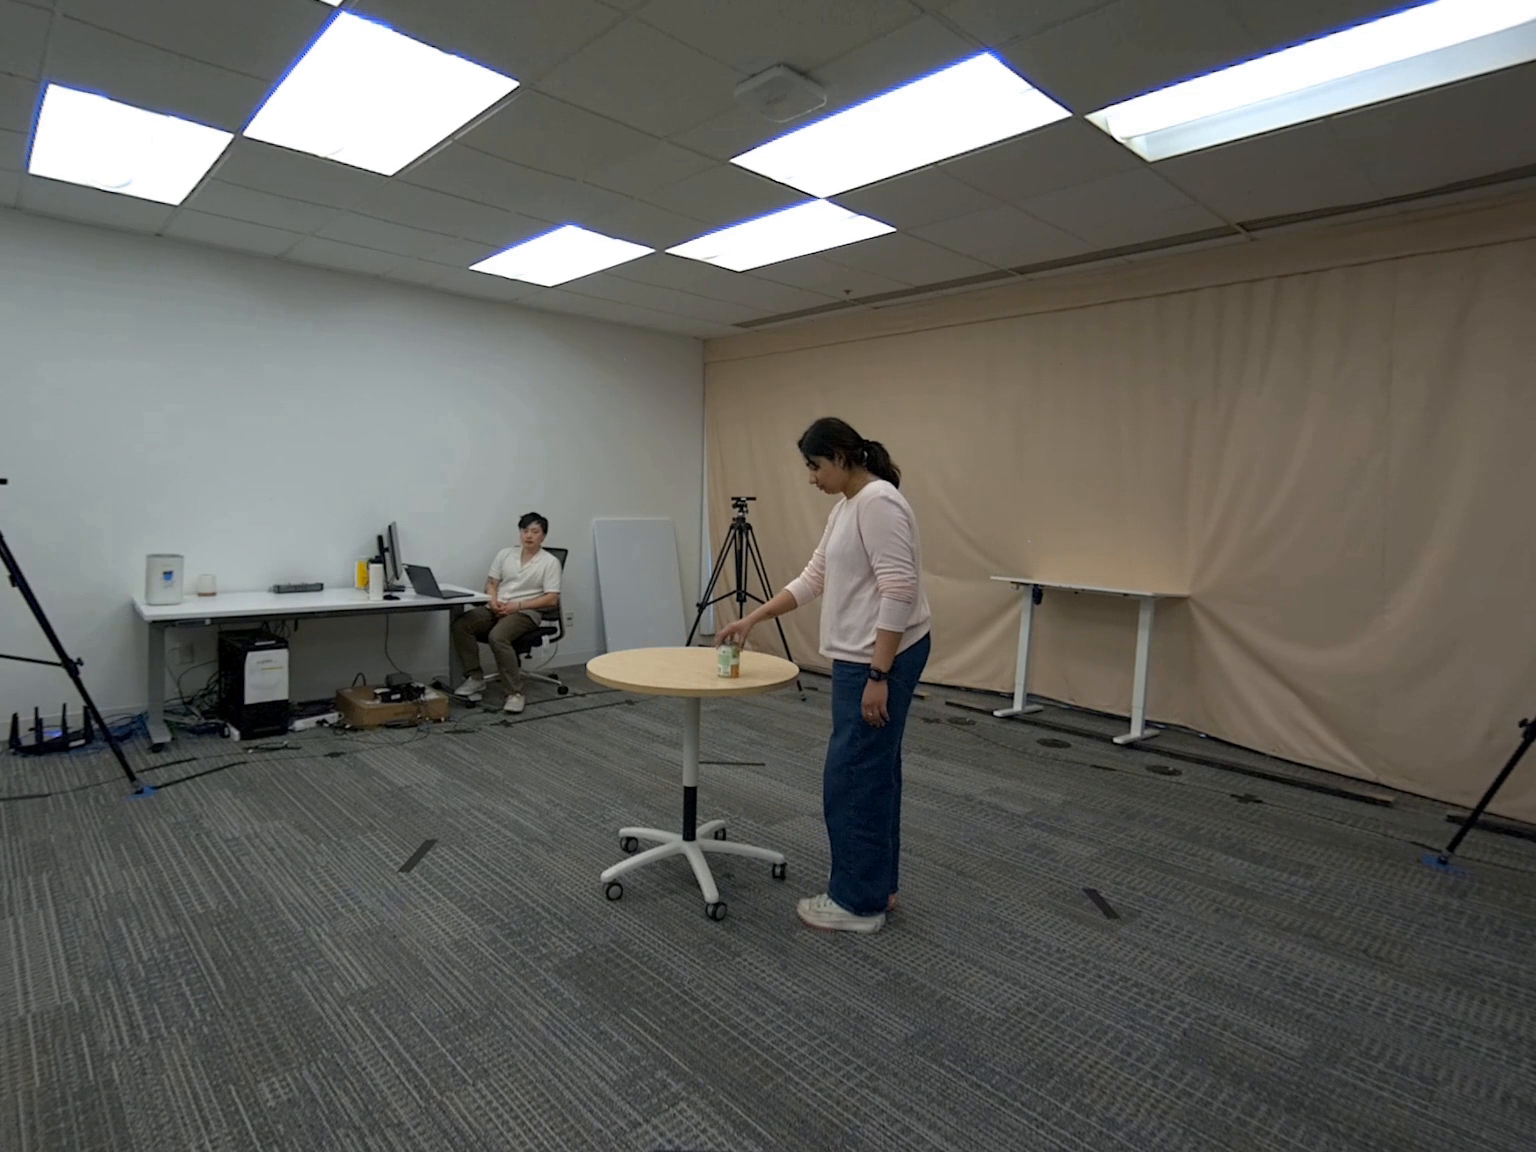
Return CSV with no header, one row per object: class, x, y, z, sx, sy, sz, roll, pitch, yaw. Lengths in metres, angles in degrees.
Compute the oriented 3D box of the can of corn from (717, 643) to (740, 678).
can of corn,-0.137,0.286,2.881,0.074,0.111,0.074,3,1,-1
